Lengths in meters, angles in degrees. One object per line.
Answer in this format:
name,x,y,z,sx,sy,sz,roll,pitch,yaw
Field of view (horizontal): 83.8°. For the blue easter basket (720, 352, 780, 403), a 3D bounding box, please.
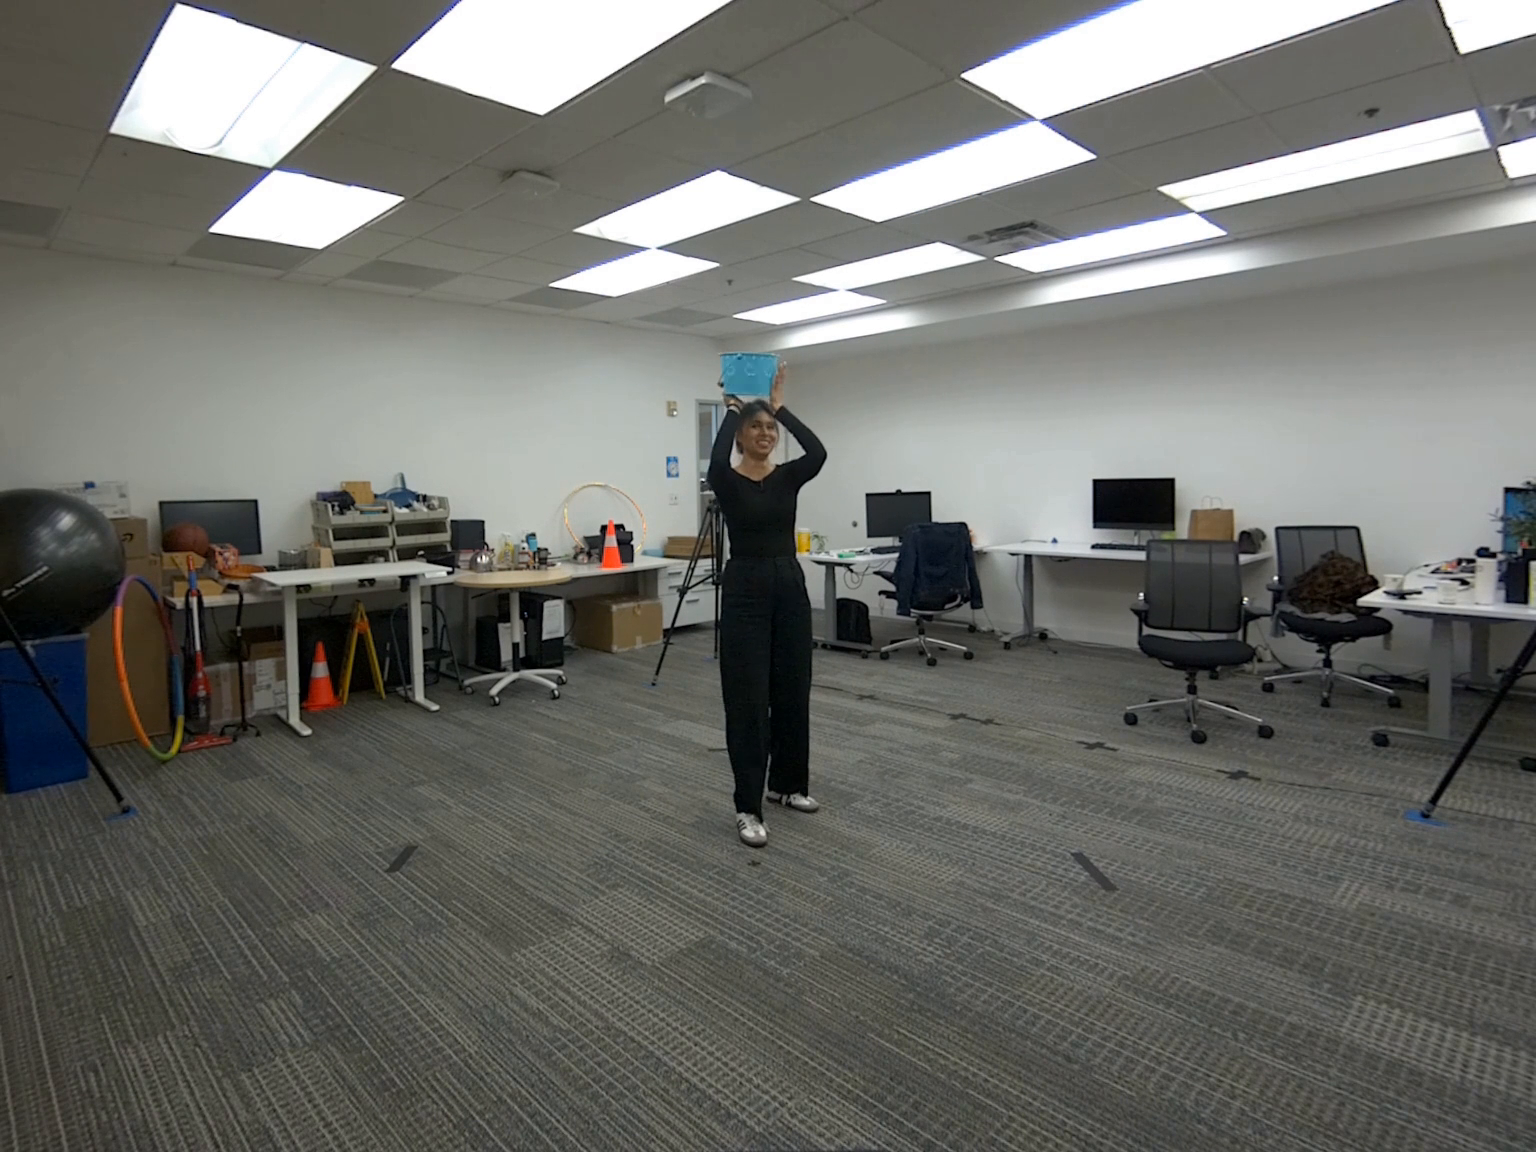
blue easter basket,-0.081,-0.774,3.291,0.243,0.155,0.245,2,9,-2
